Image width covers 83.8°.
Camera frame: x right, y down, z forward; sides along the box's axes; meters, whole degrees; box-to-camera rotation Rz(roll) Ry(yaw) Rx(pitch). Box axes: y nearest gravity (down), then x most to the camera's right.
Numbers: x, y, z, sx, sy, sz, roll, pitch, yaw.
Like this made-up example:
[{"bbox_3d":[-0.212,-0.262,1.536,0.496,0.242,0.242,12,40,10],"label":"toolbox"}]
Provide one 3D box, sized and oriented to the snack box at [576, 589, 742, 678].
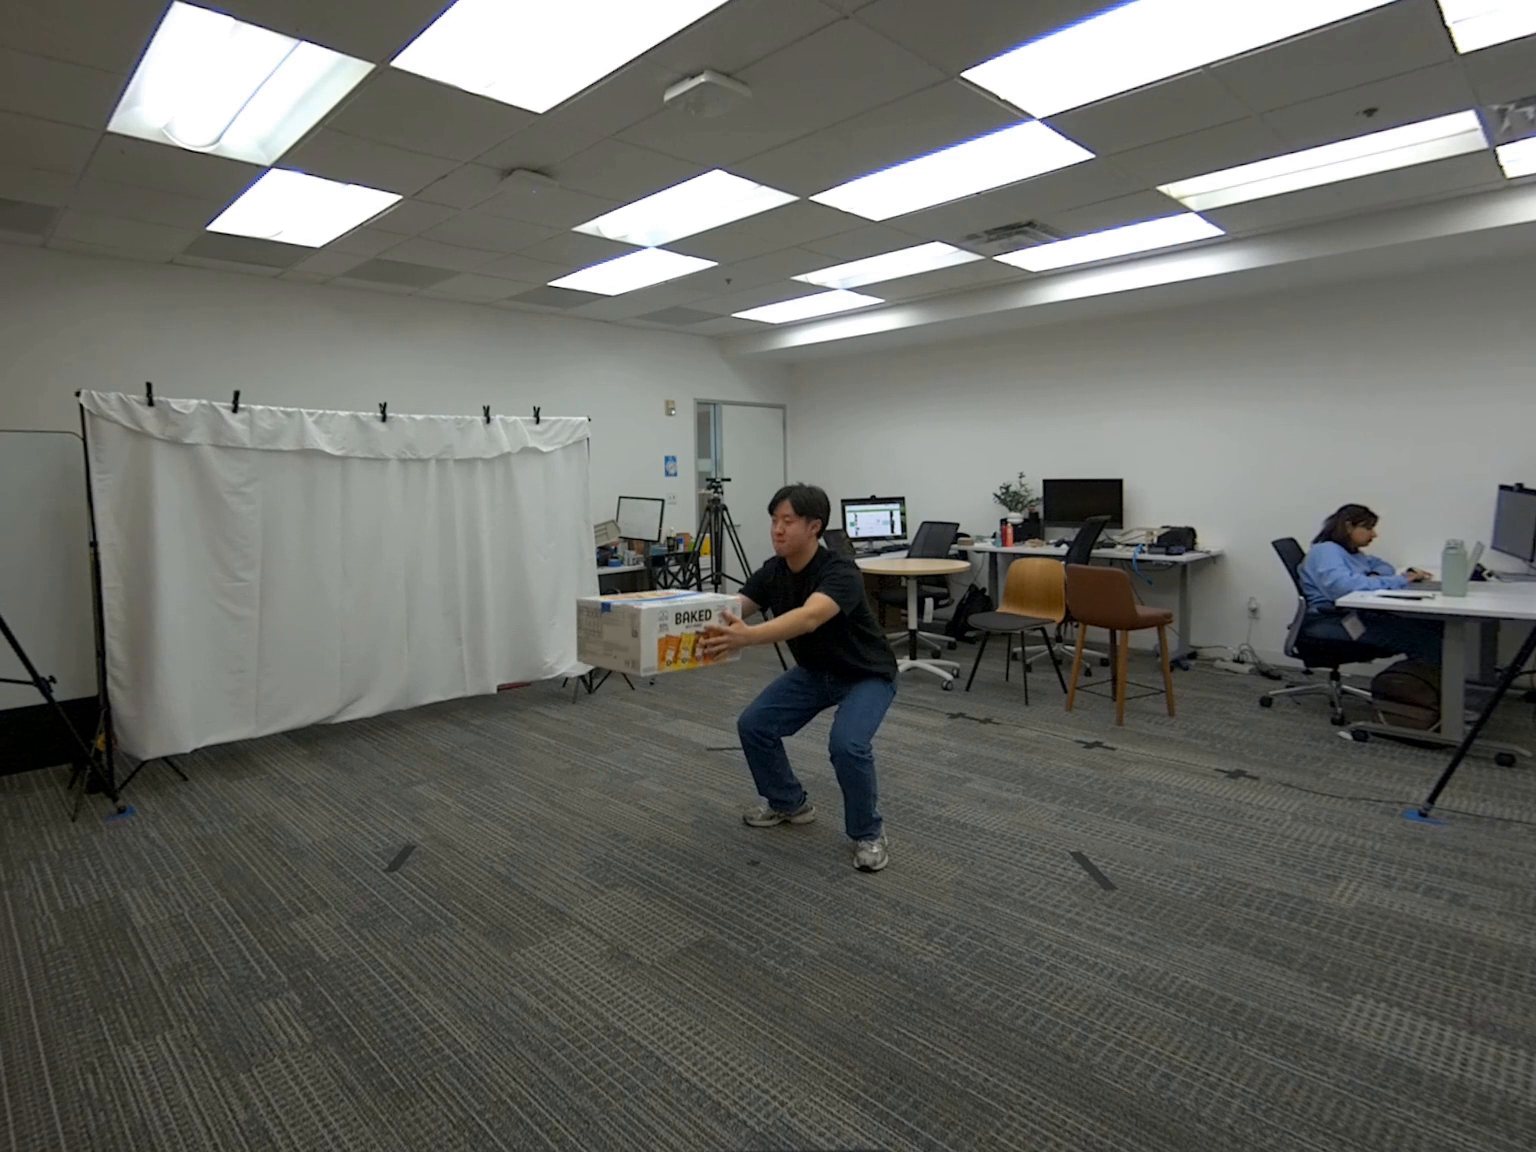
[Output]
[{"bbox_3d":[-0.340,0.170,2.707,0.394,0.205,0.350,-5,5,-44],"label":"snack box"}]
